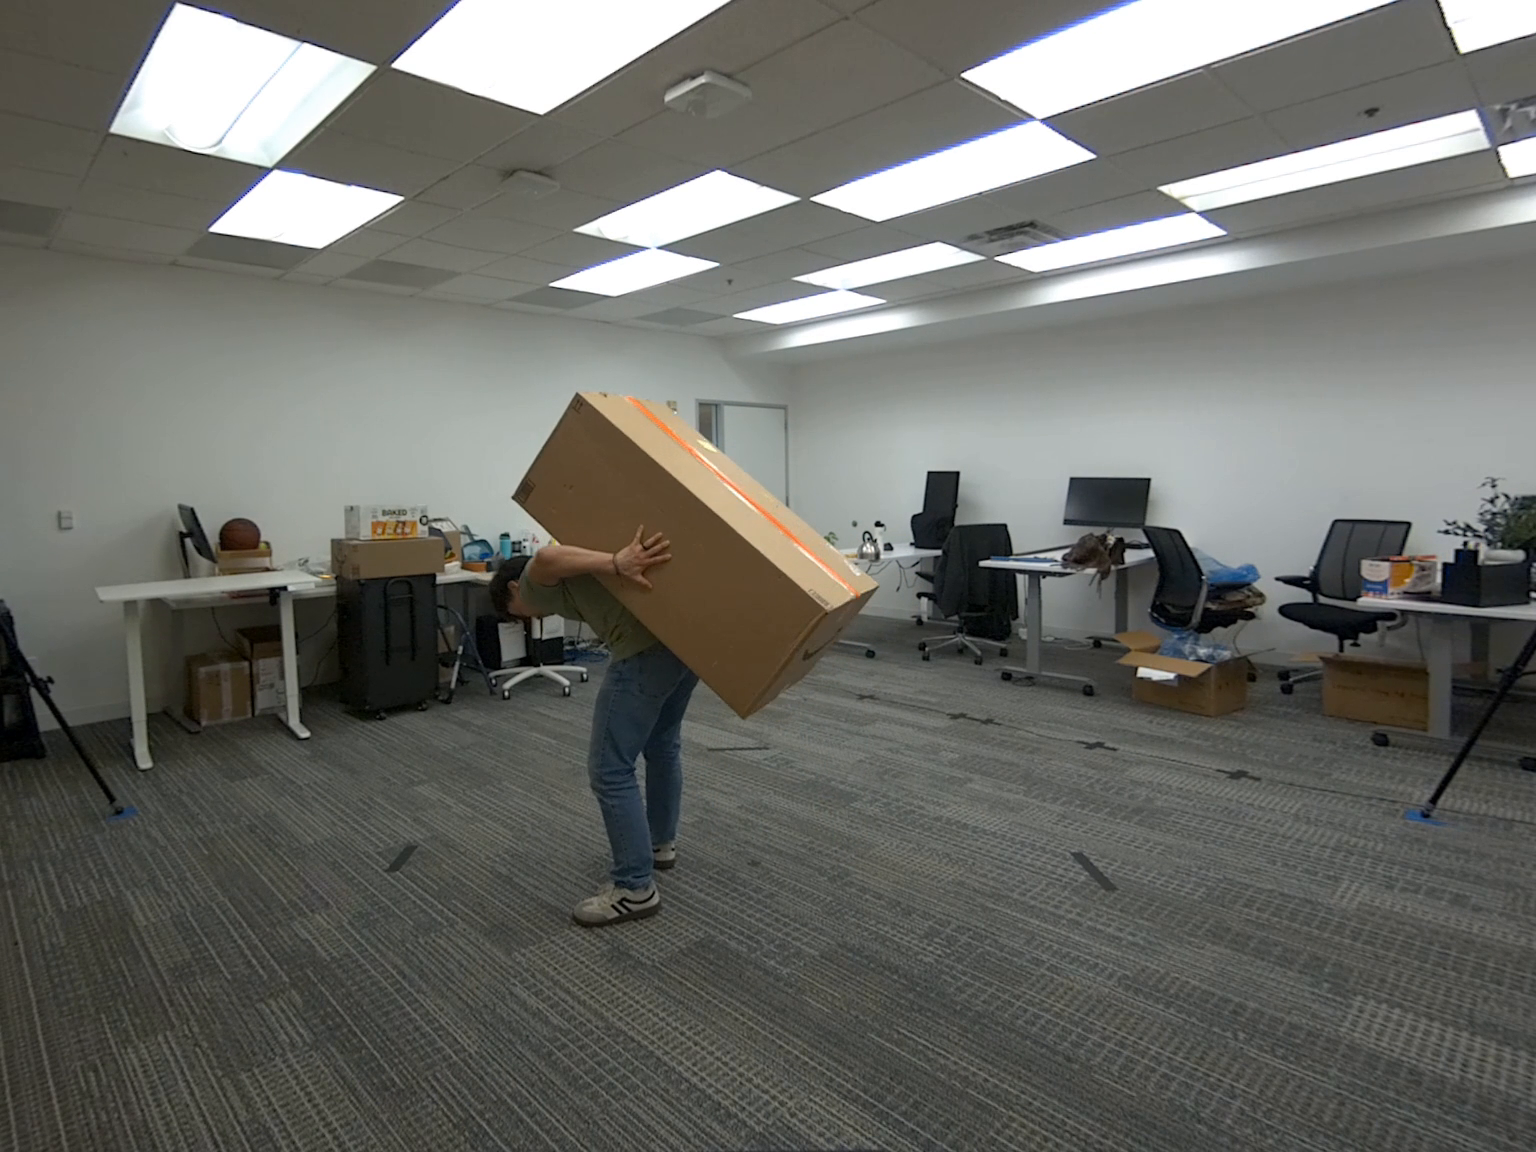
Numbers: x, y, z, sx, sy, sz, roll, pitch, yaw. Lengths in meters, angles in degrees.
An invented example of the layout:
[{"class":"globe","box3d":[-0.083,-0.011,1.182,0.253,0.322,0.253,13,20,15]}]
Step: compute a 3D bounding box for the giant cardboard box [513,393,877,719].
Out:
[{"class":"giant cardboard box","box3d":[-0.223,-0.112,2.776,1.047,0.425,0.567,41,20,15]}]
